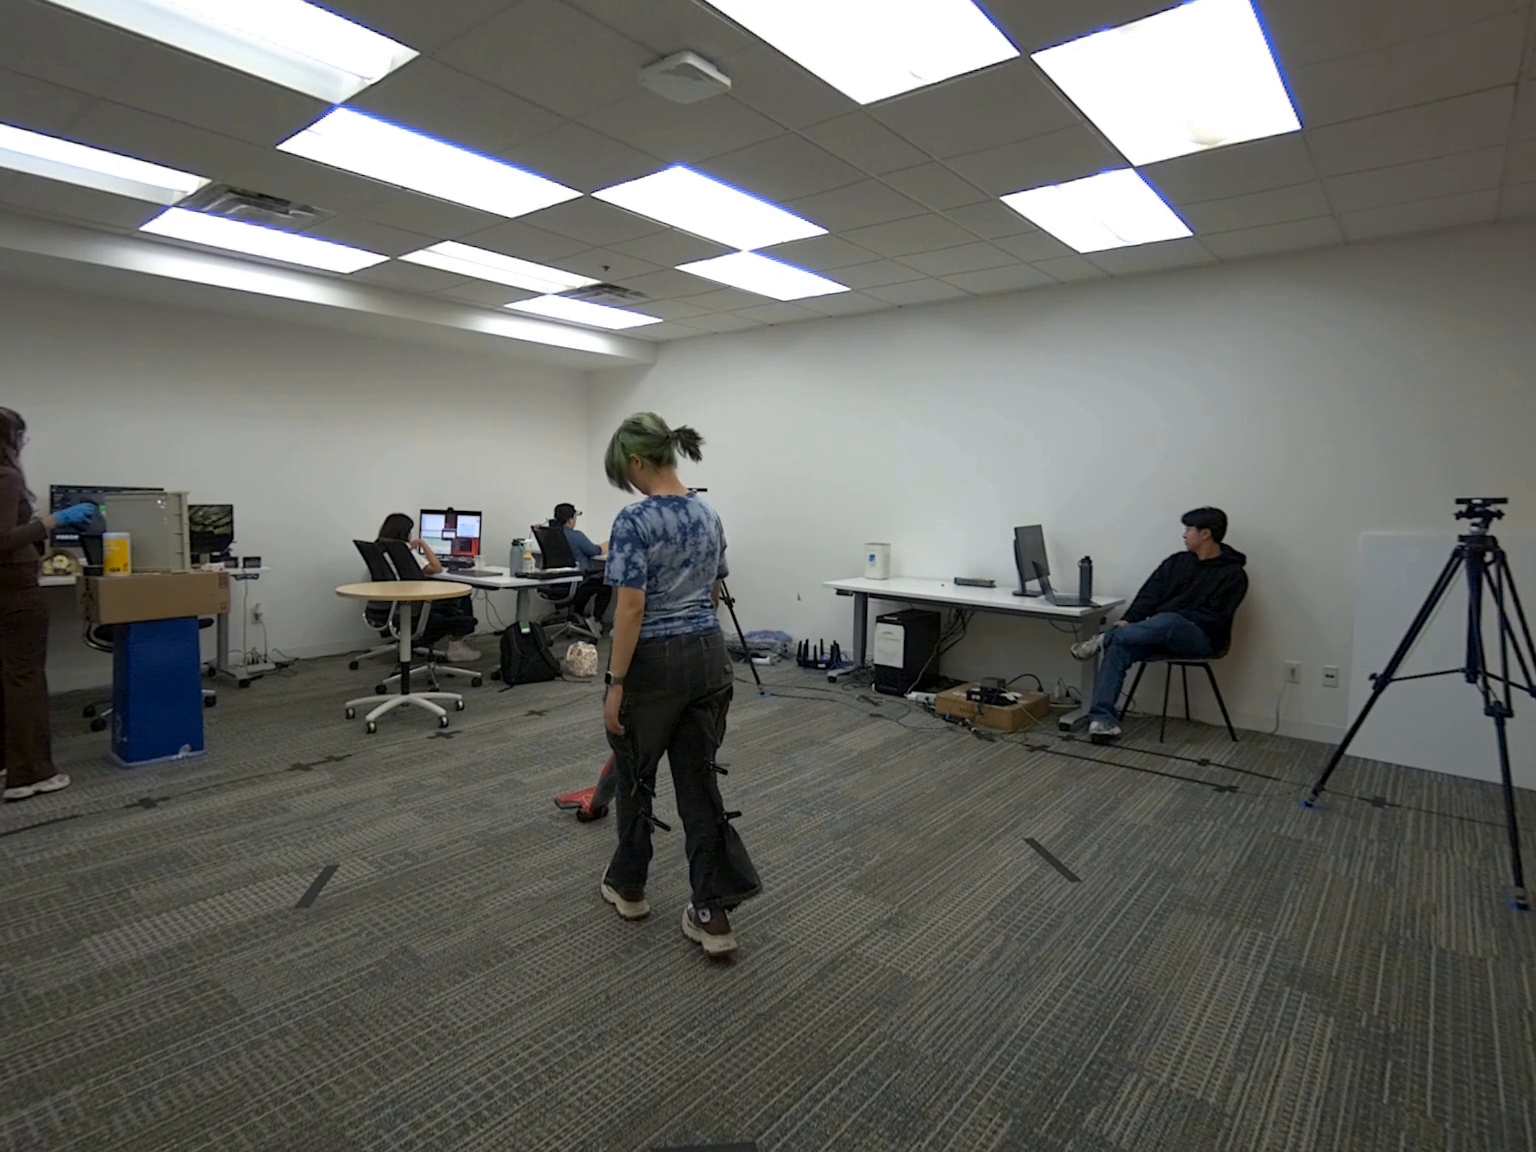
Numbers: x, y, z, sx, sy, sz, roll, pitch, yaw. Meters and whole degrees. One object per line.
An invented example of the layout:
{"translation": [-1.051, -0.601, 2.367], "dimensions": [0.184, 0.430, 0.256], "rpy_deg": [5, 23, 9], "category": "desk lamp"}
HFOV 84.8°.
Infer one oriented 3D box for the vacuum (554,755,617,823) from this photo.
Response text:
{"translation": [-0.517, 0.646, 3.328], "dimensions": [0.245, 0.148, 1.046], "rpy_deg": [-8, -34, -47], "category": "vacuum"}
